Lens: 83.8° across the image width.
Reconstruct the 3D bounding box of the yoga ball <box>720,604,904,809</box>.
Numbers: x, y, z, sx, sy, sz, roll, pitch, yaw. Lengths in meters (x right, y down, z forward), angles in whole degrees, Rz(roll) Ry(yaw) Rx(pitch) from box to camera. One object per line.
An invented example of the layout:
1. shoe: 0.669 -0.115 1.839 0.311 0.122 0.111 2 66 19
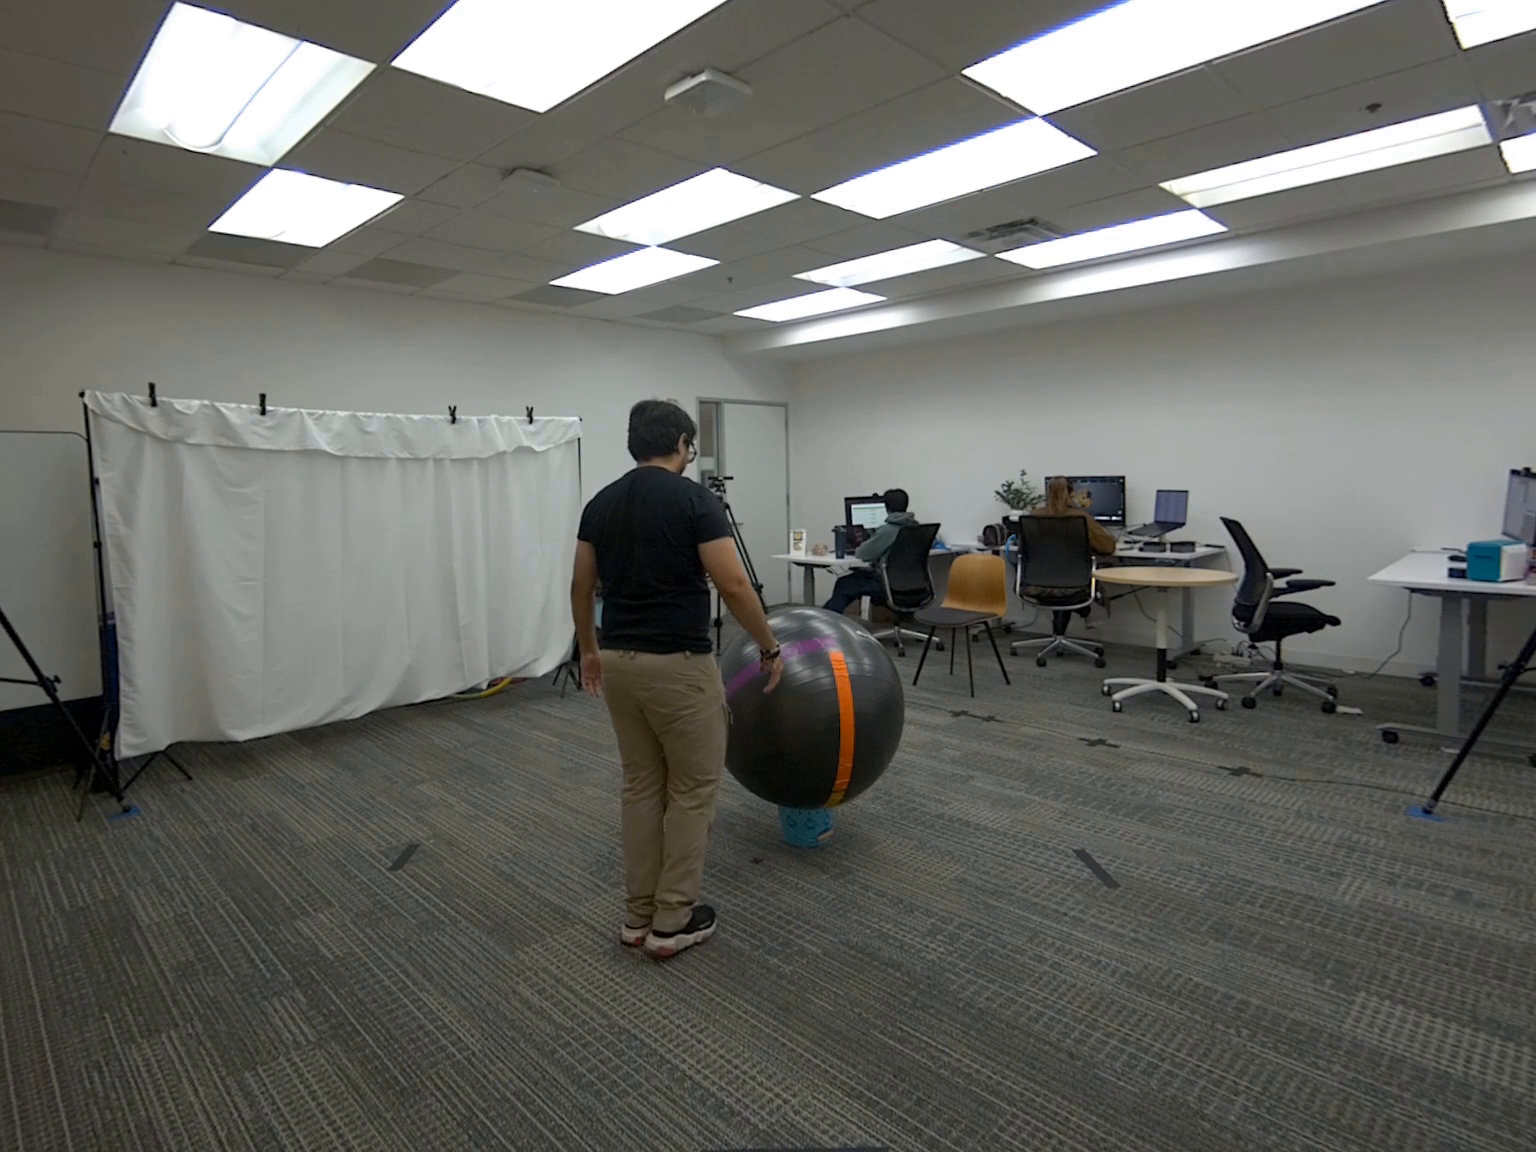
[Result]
1. yoga ball: 0.142 0.504 3.287 0.757 0.755 0.762 -1 5 -2
